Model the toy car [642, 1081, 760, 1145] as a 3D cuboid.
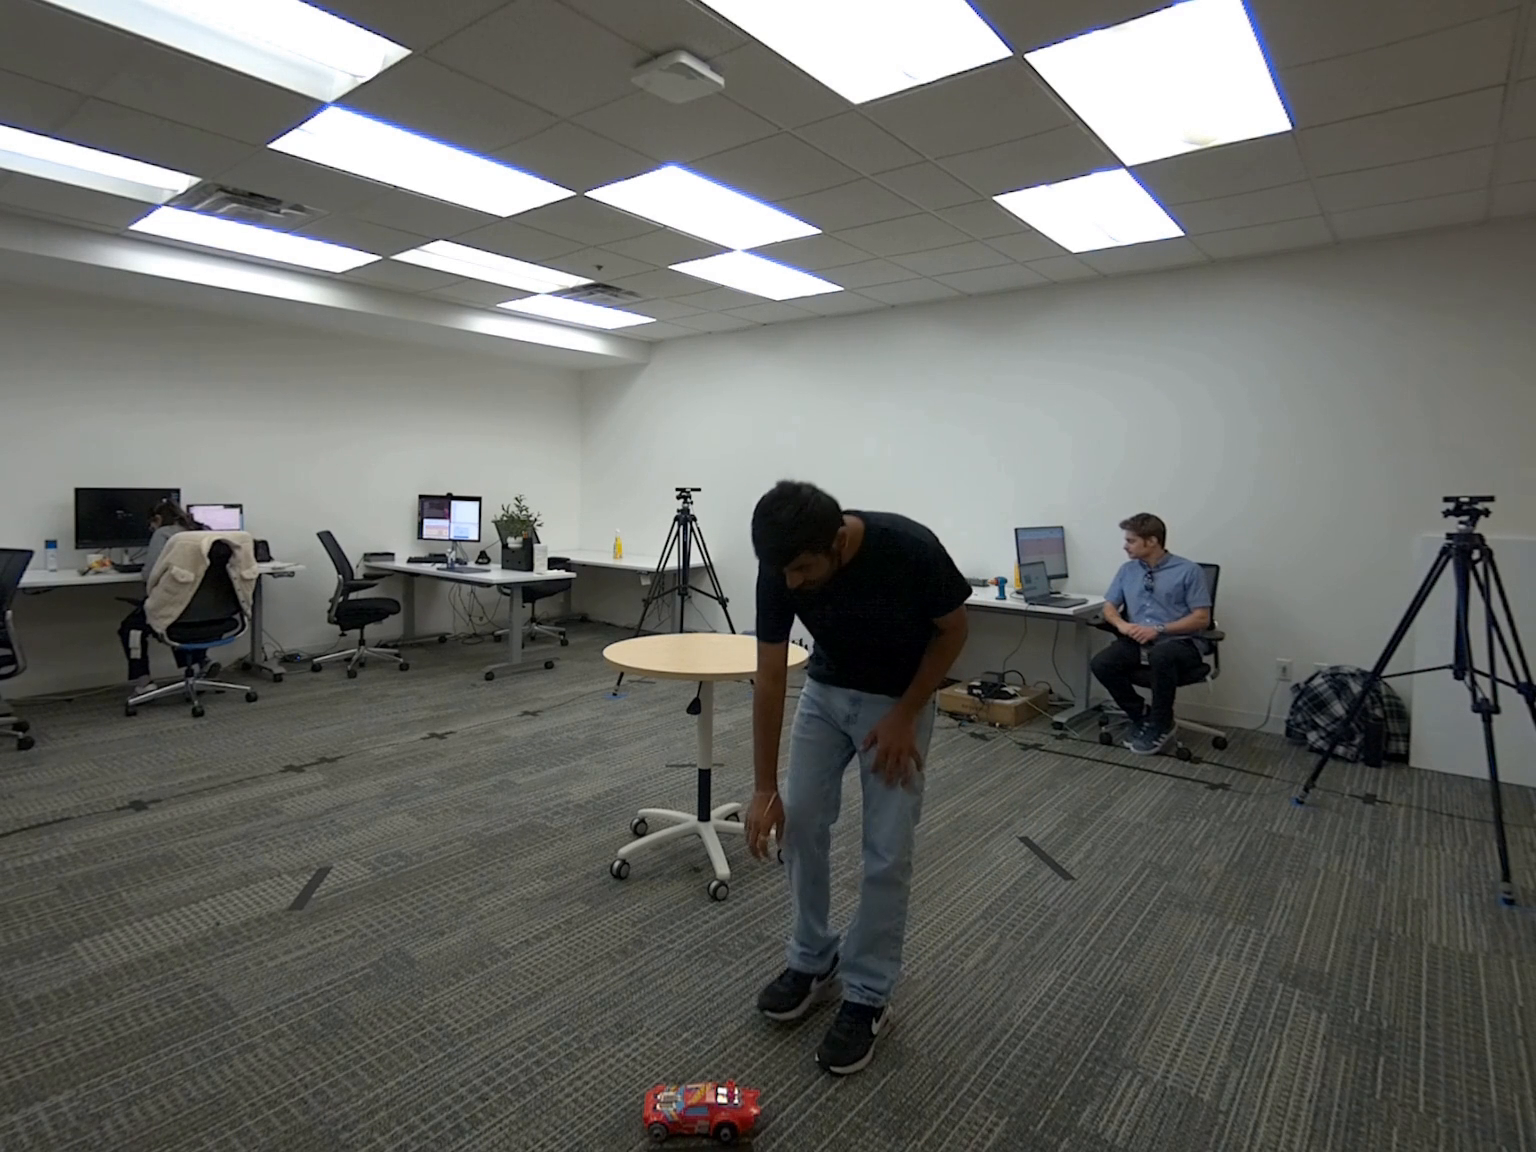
[{"bbox_3d":[-0.150,1.167,1.857,0.255,0.083,0.130,-10,5,2],"label":"toy car"}]
